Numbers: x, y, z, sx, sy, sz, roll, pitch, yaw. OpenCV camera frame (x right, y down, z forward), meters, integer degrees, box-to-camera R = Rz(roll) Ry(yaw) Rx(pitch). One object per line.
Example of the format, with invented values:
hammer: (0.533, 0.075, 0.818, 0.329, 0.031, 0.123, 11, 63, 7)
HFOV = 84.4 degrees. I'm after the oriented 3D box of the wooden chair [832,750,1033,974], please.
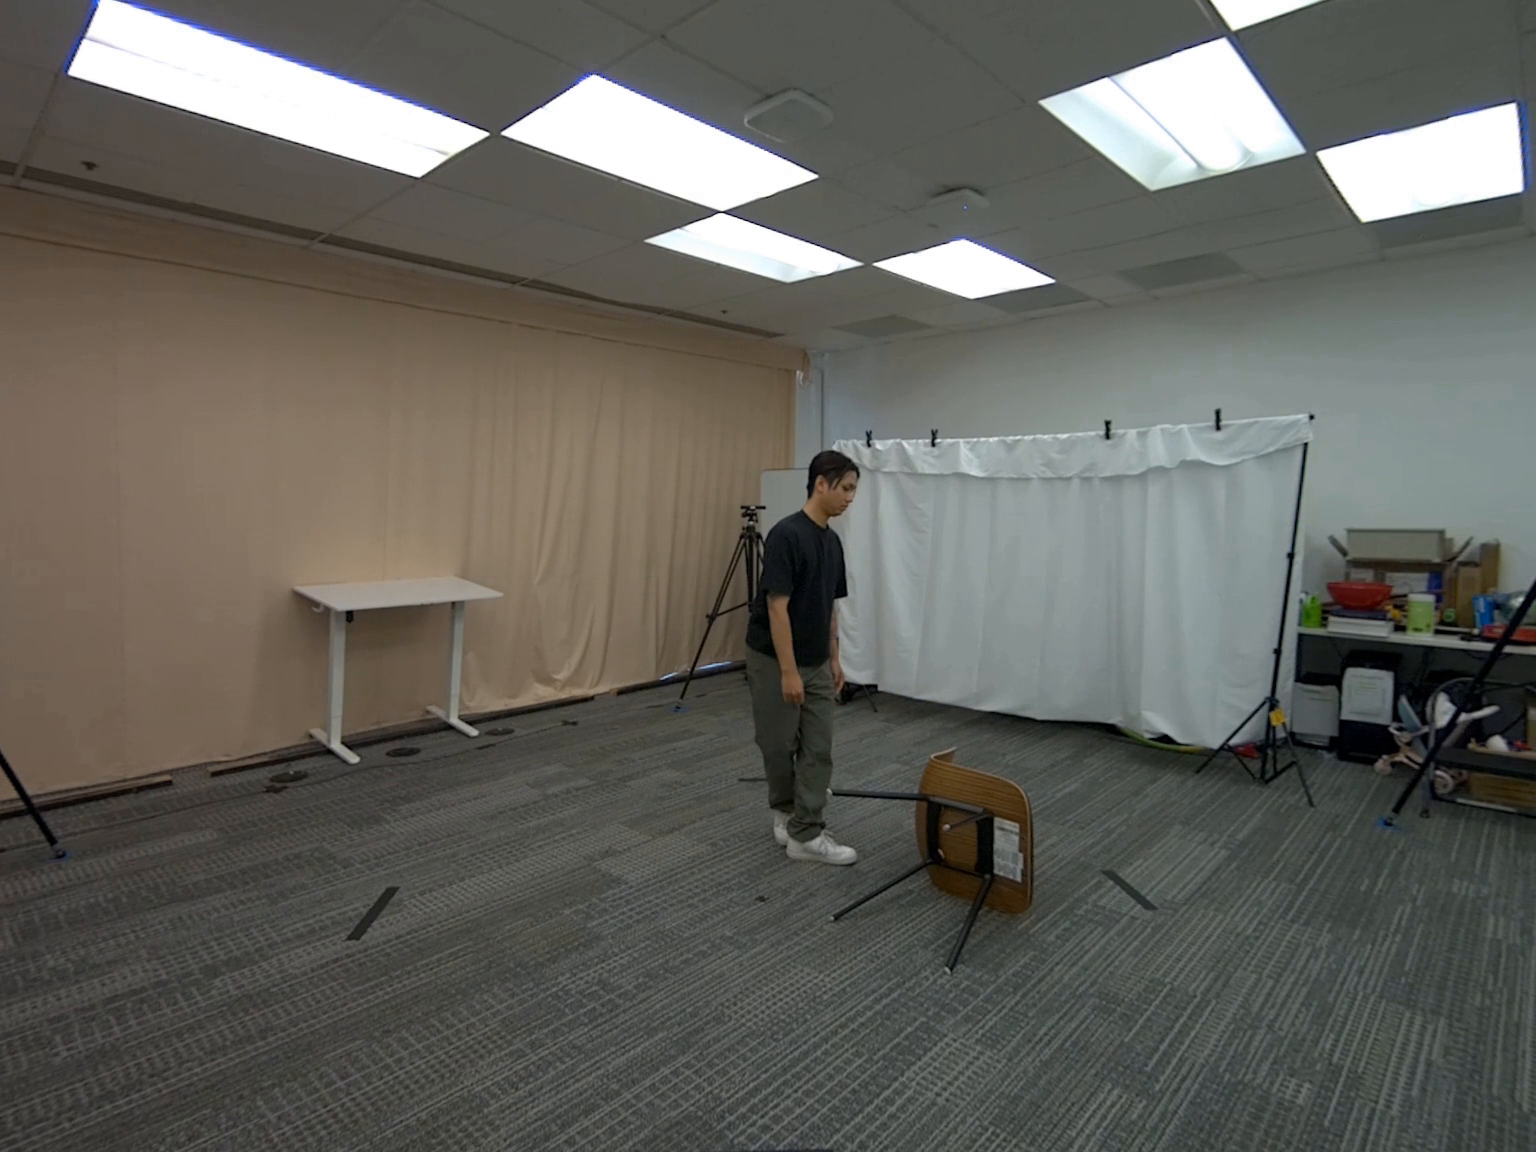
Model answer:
wooden chair: (0.670, 0.917, 2.928, 0.540, 0.477, 0.851, 2, 5, 40)
